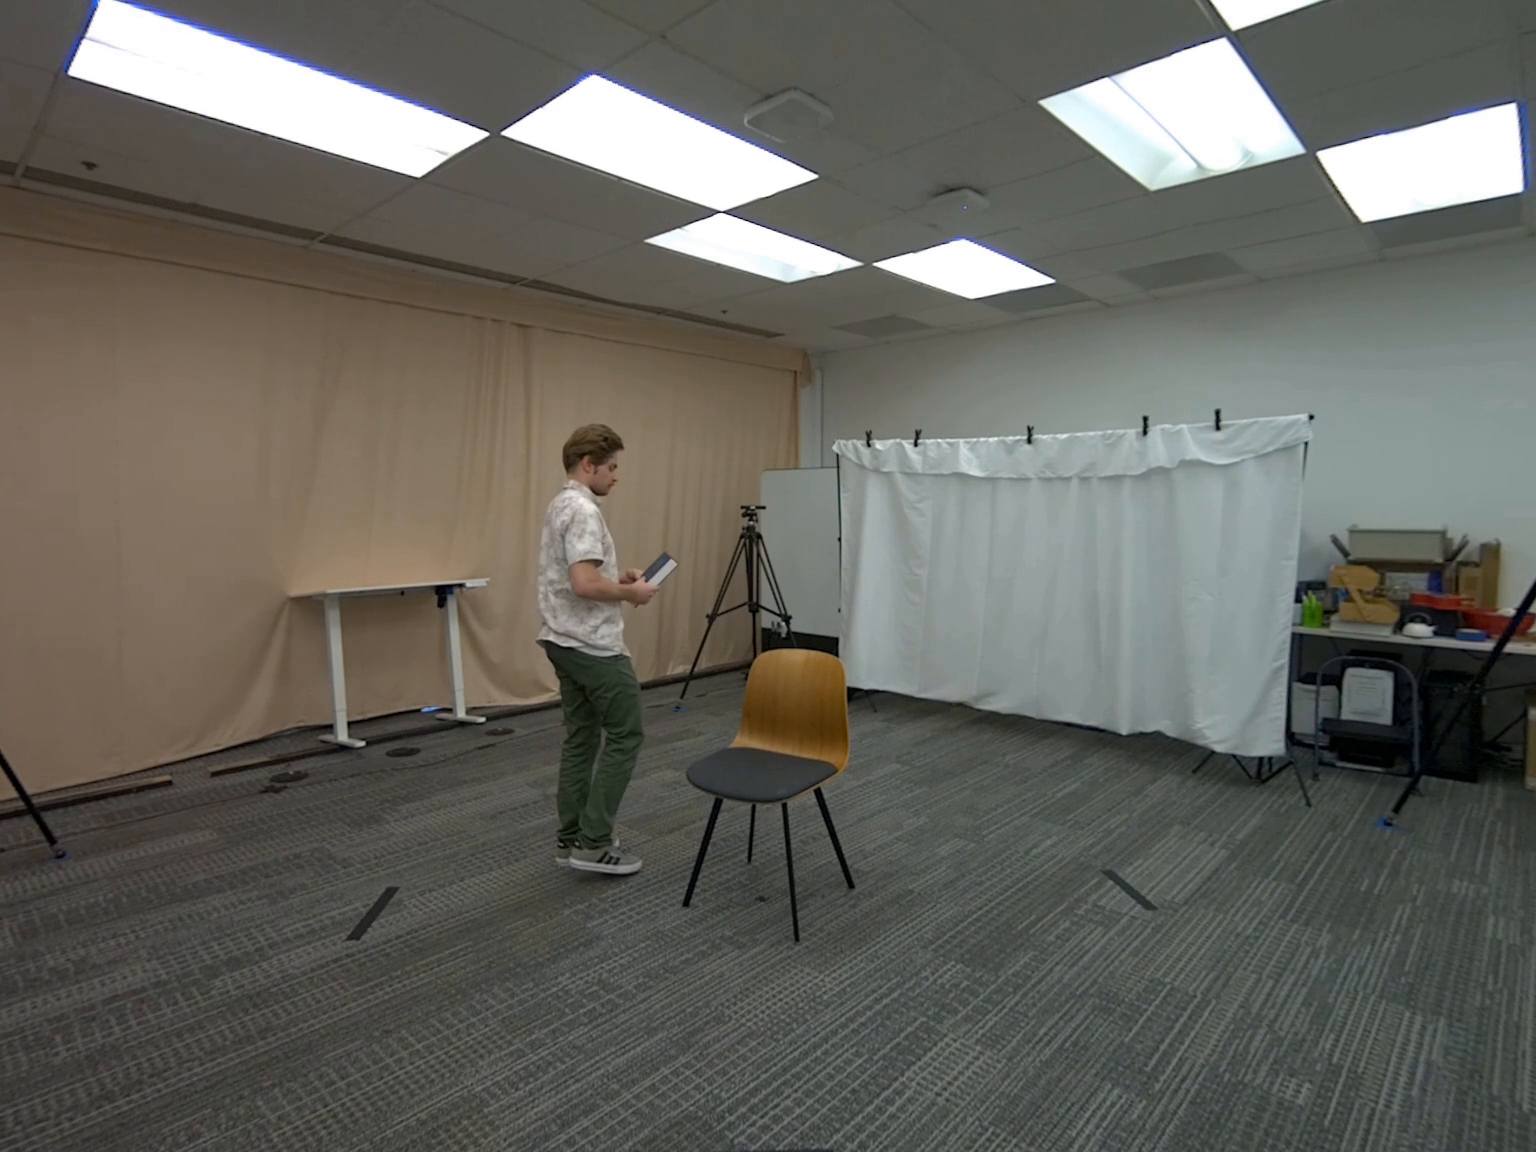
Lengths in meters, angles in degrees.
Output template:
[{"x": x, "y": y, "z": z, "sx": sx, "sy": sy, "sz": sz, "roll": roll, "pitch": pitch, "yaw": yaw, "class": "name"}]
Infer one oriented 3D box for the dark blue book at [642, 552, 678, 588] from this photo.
[{"x": -0.465, "y": 0.007, "z": 3.353, "sx": 0.245, "sy": 0.044, "sz": 0.167, "roll": -41, "pitch": 18, "yaw": -4, "class": "dark blue book"}]
